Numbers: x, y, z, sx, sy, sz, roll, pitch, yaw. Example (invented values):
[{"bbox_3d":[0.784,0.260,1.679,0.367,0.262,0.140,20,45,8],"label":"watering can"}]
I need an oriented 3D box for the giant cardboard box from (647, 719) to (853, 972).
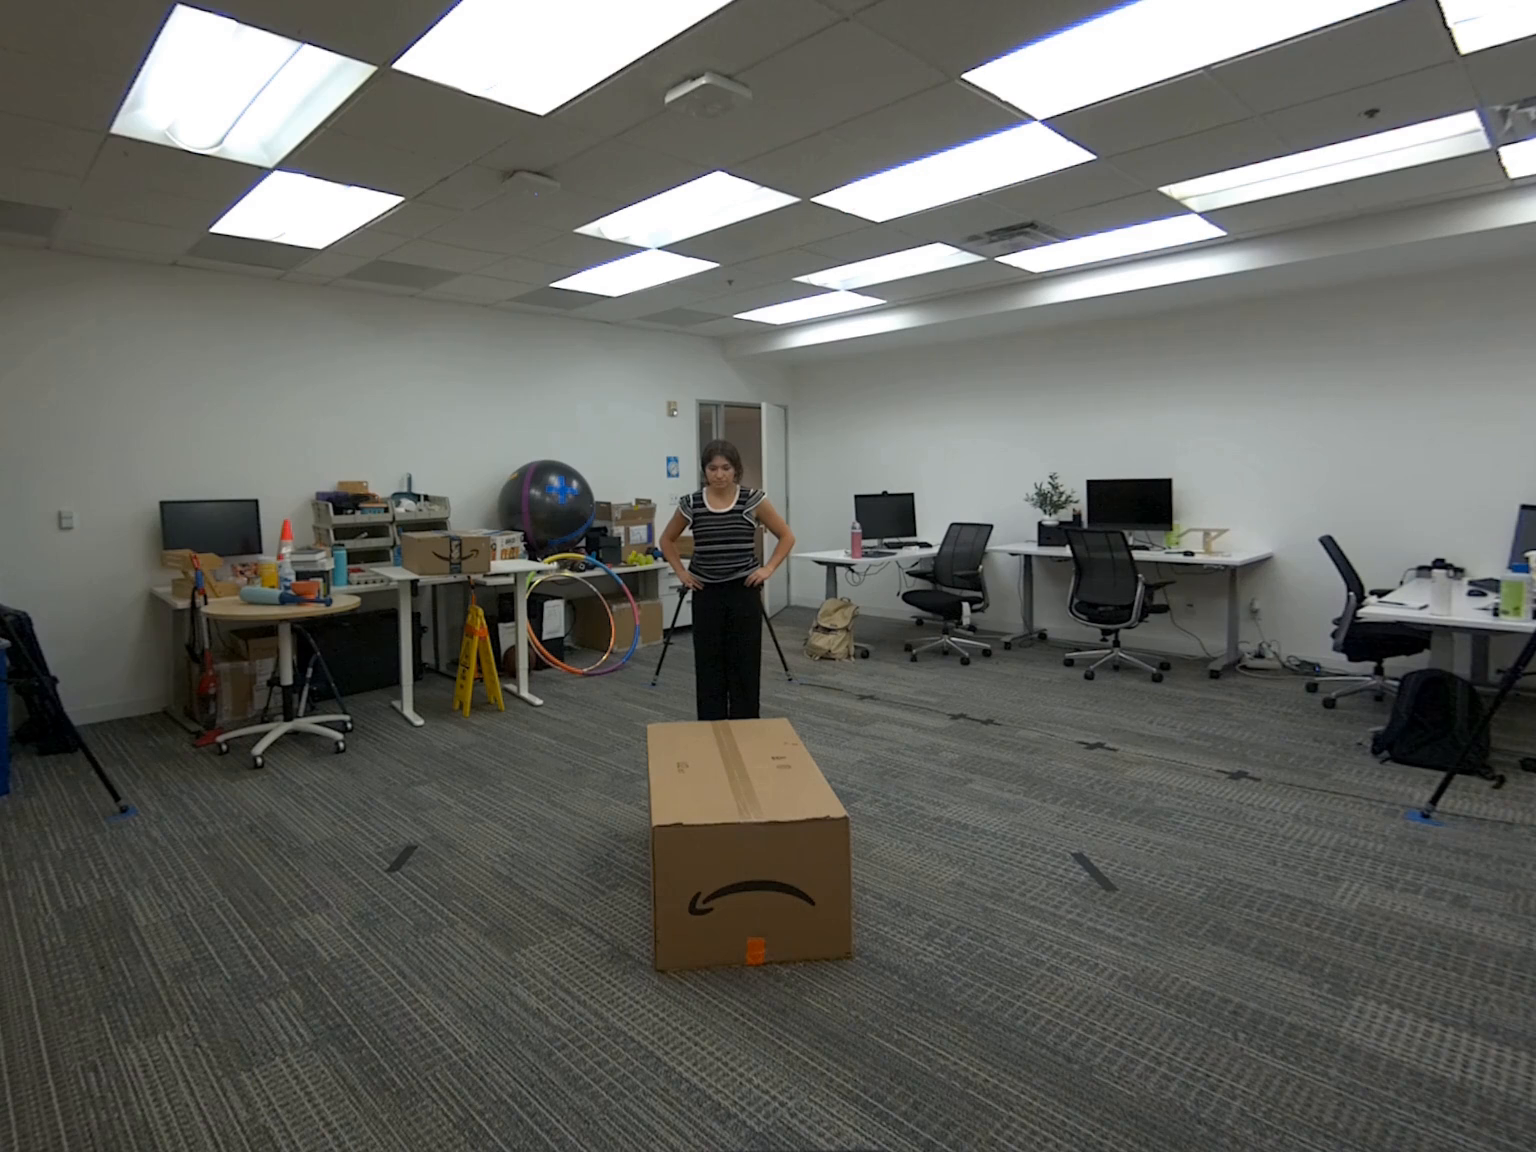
[{"bbox_3d":[-0.123,0.854,2.948,0.574,0.424,1.038,-1,6,-8],"label":"giant cardboard box"}]
